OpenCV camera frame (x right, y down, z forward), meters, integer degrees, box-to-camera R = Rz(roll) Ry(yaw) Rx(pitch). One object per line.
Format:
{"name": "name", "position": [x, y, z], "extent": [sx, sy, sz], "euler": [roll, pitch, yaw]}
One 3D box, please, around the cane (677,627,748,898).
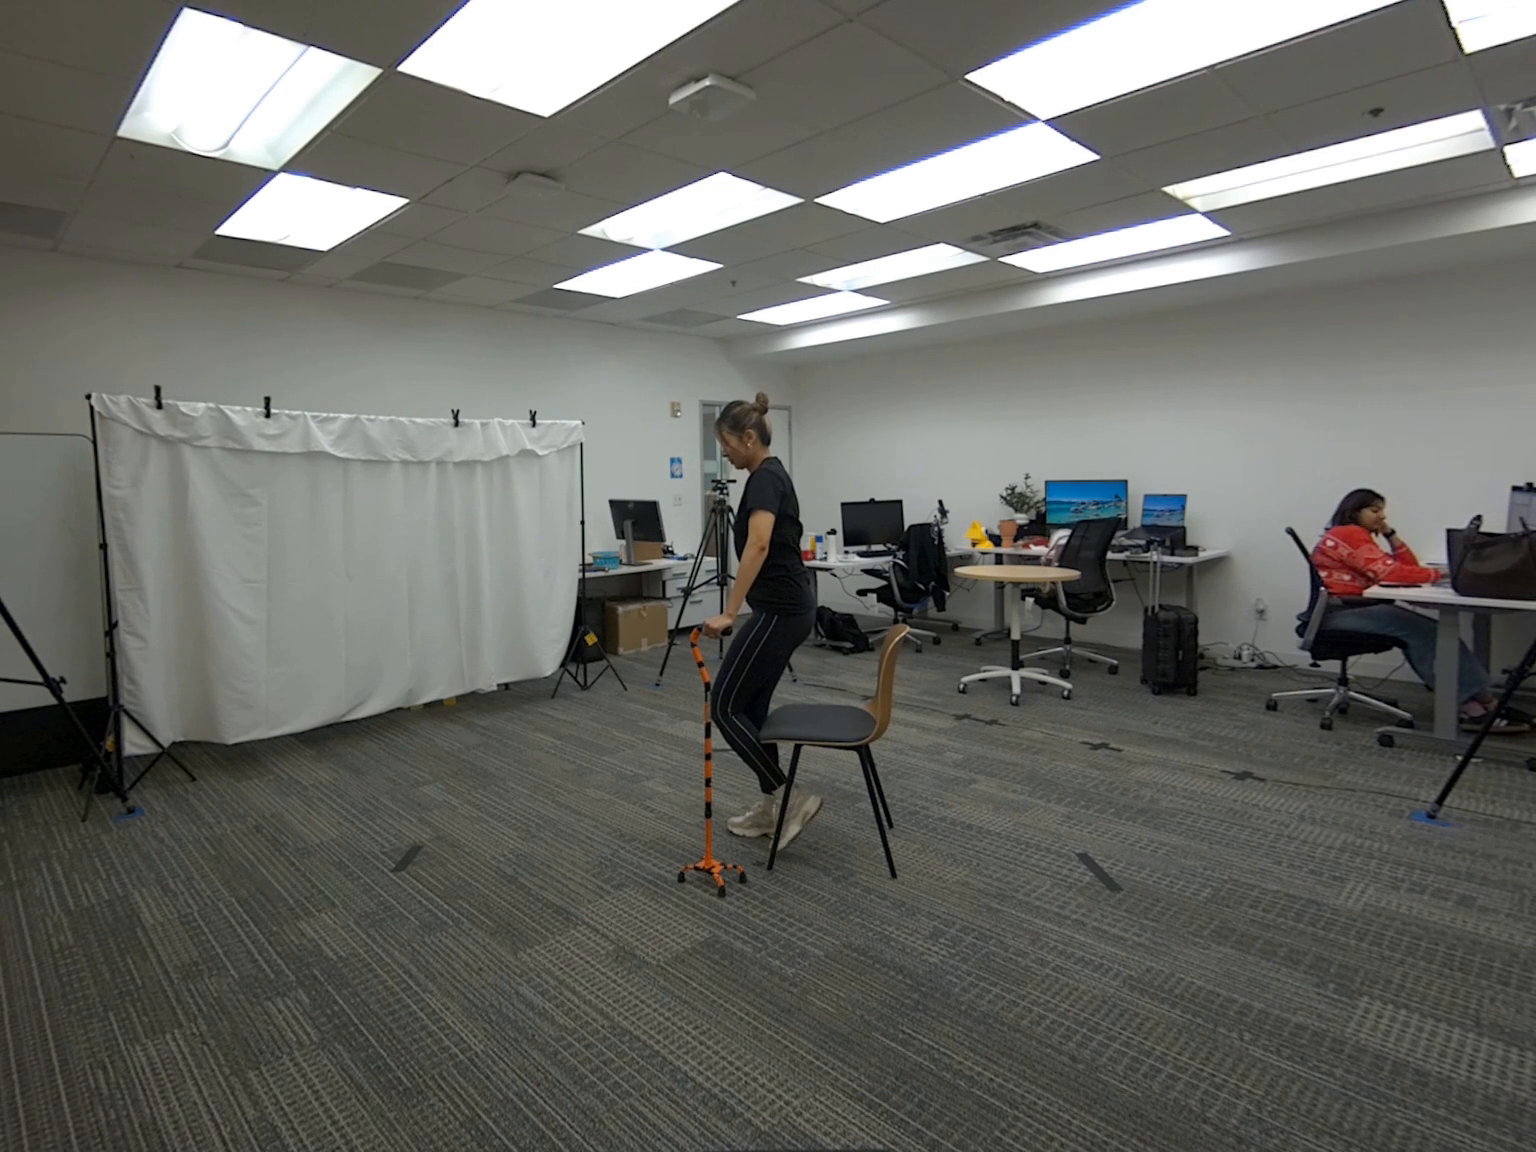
{"name": "cane", "position": [-0.196, 0.620, 2.943], "extent": [0.212, 0.904, 0.148], "euler": [3, 5, 36]}
